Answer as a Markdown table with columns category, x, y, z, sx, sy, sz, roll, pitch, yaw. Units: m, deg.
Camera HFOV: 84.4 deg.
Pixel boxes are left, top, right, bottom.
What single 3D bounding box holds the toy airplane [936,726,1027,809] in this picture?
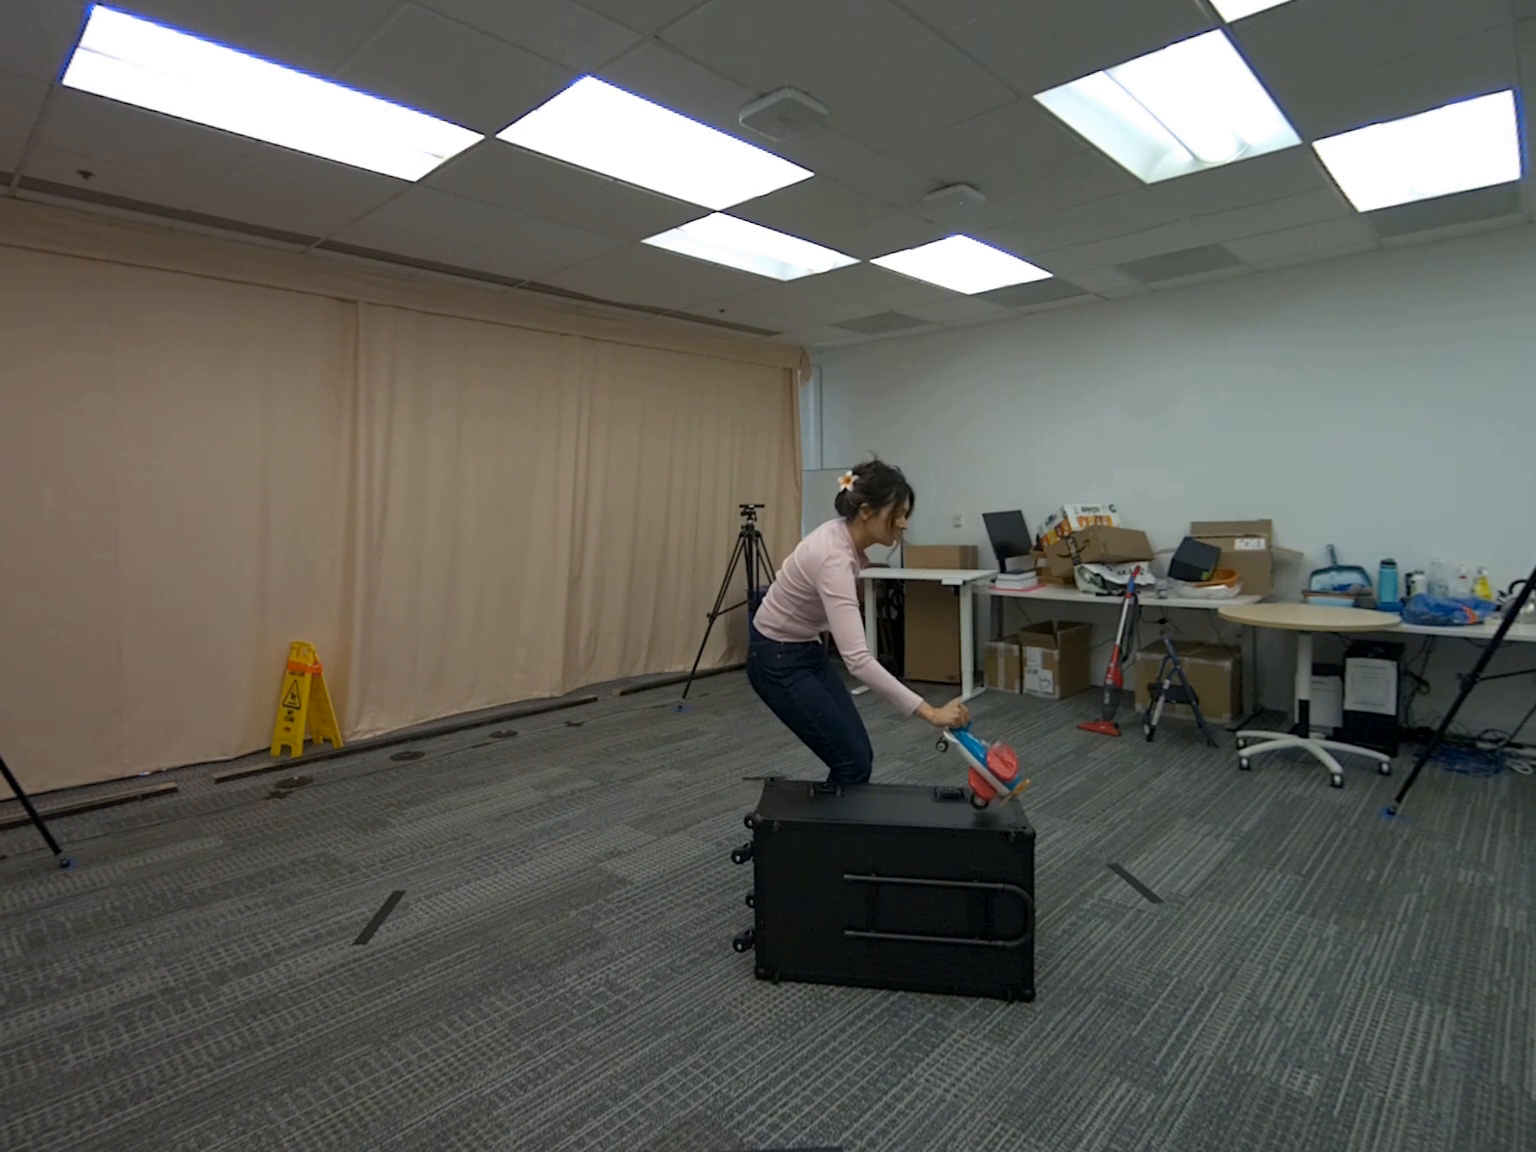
| category | x | y | z | sx | sy | sz | roll | pitch | yaw |
| --- | --- | --- | --- | --- | --- | --- | --- | --- | --- |
| toy airplane | 0.615 | 0.541 | 2.430 | 0.158 | 0.254 | 0.253 | -37 | 18 | 21 |
